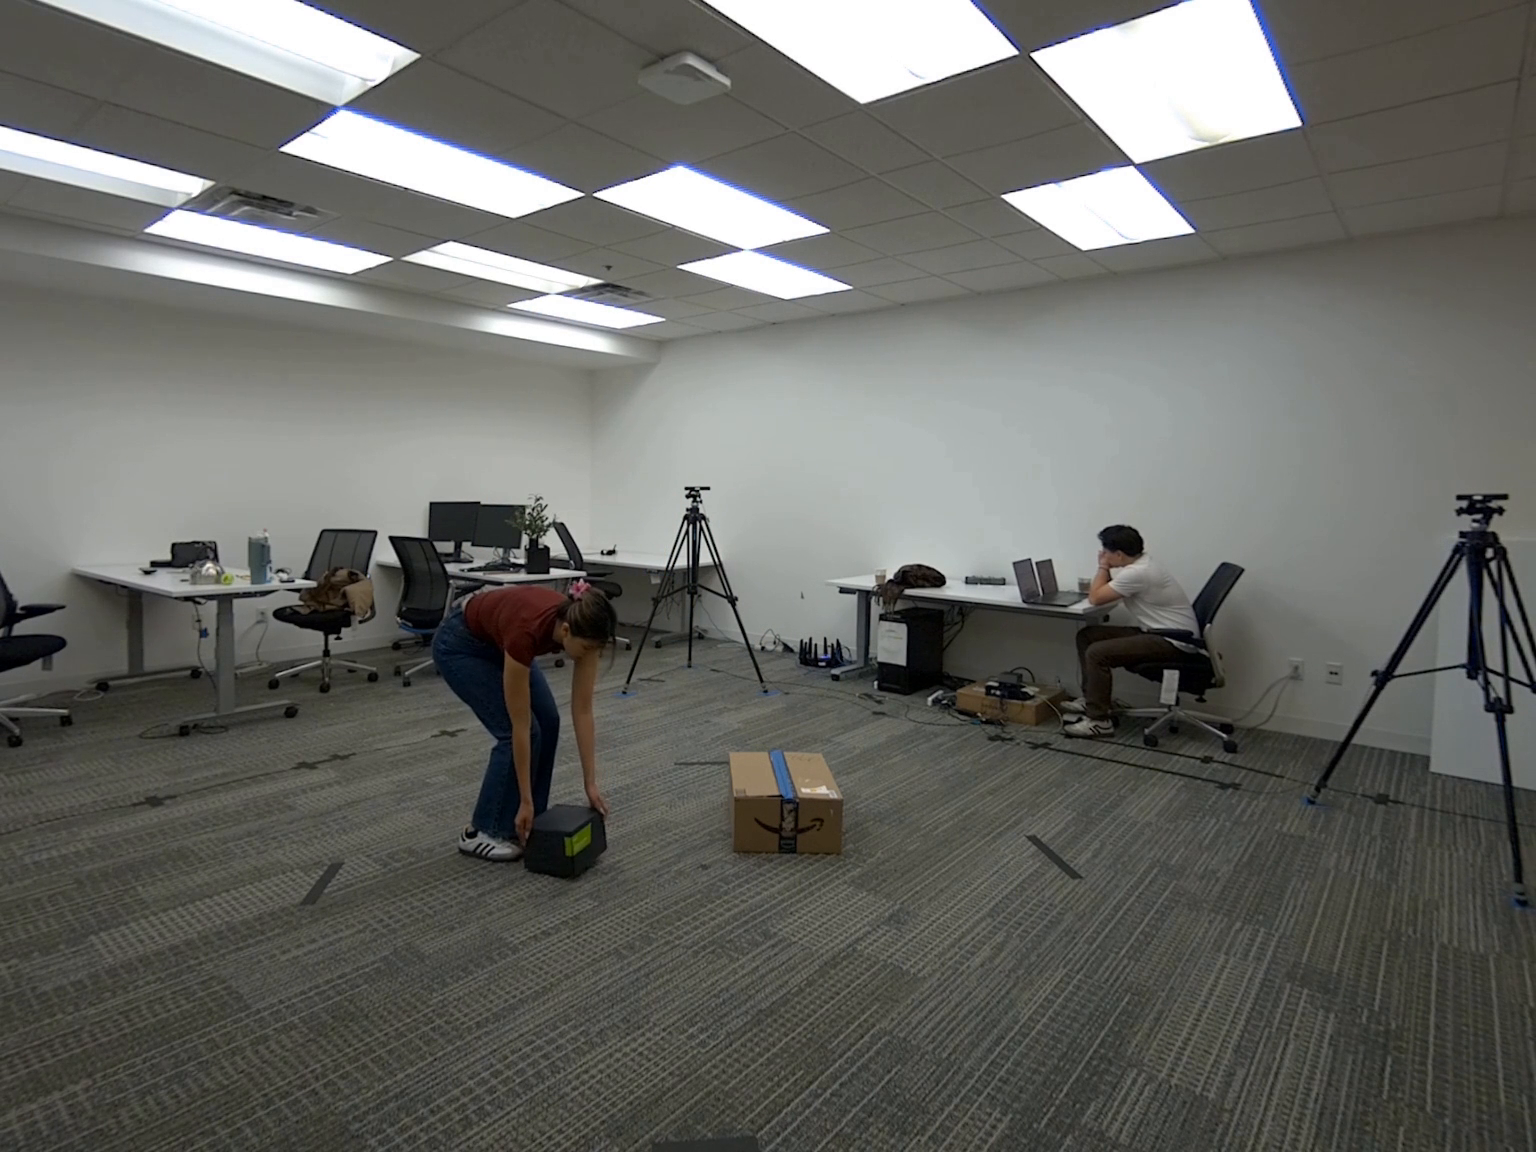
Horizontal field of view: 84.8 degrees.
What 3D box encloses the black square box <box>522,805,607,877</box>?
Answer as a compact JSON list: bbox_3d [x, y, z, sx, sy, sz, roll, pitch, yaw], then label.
[{"bbox_3d":[-0.750,0.945,3.103,0.221,0.155,0.224,-4,4,22],"label":"black square box"}]
